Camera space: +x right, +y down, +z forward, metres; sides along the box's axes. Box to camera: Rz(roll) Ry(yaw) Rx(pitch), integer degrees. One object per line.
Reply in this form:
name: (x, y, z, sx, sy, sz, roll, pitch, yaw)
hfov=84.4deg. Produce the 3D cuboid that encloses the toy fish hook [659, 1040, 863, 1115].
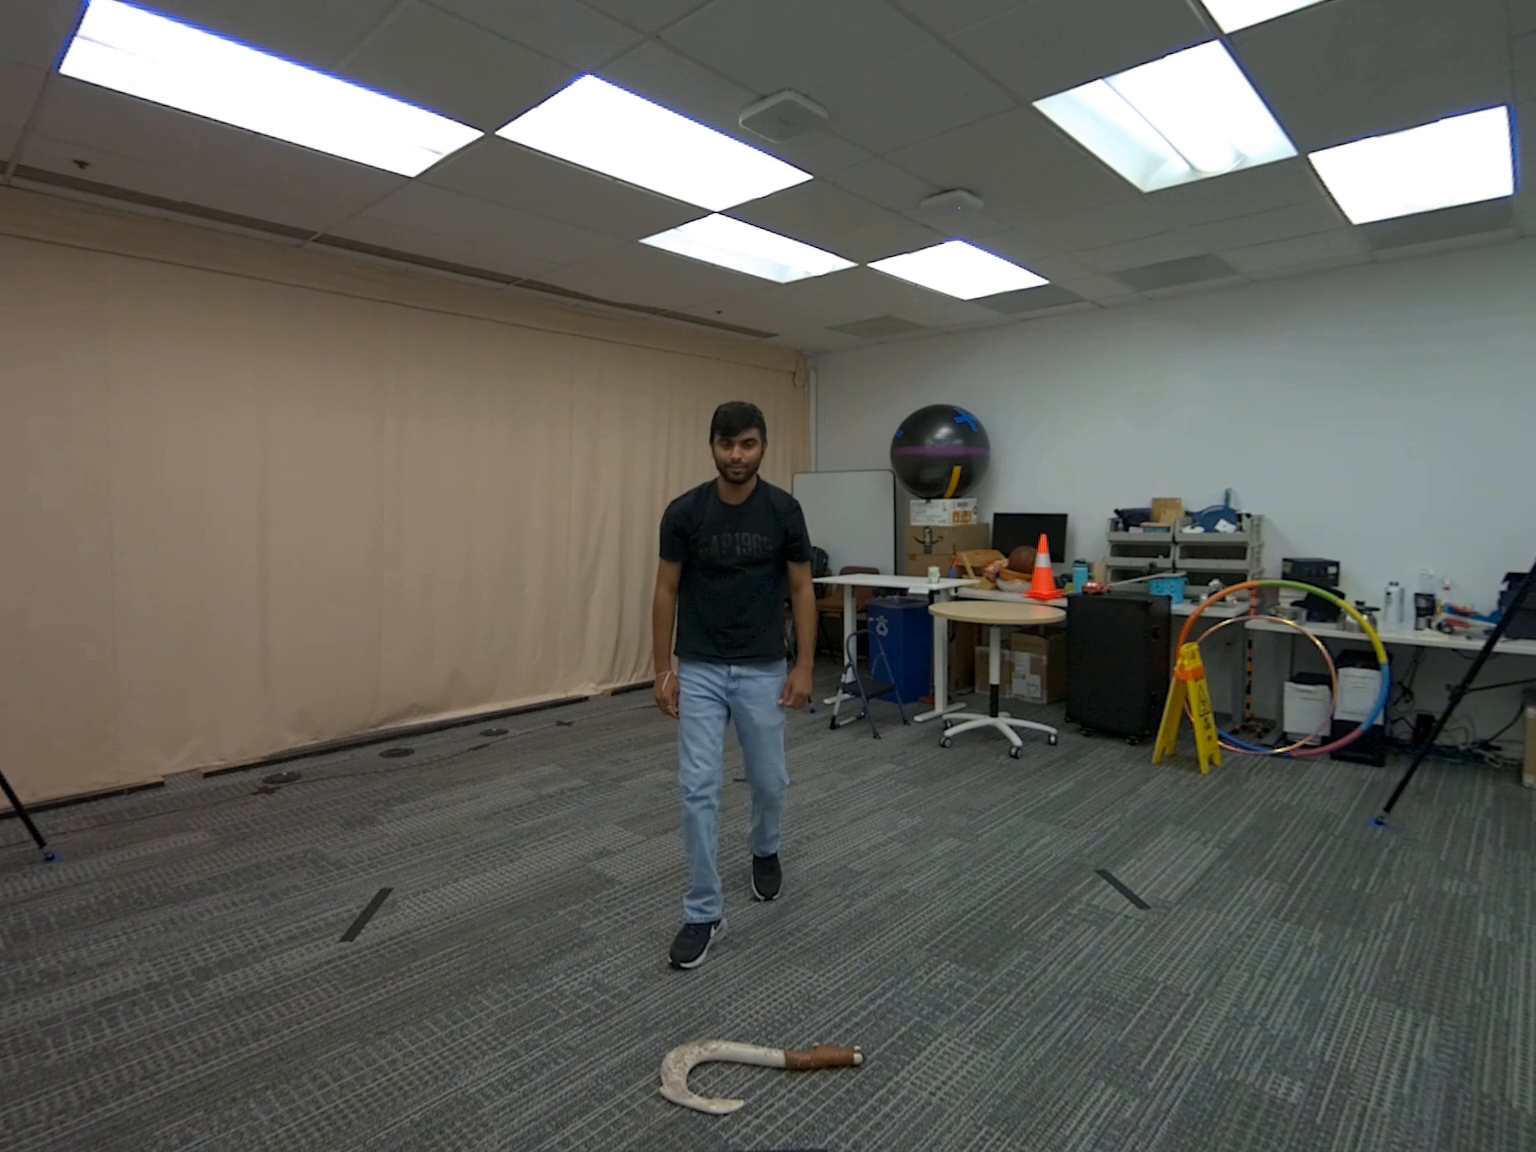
toy fish hook: (0.001, 1.211, 2.034, 0.505, 0.048, 0.227, -1, 12, -3)
